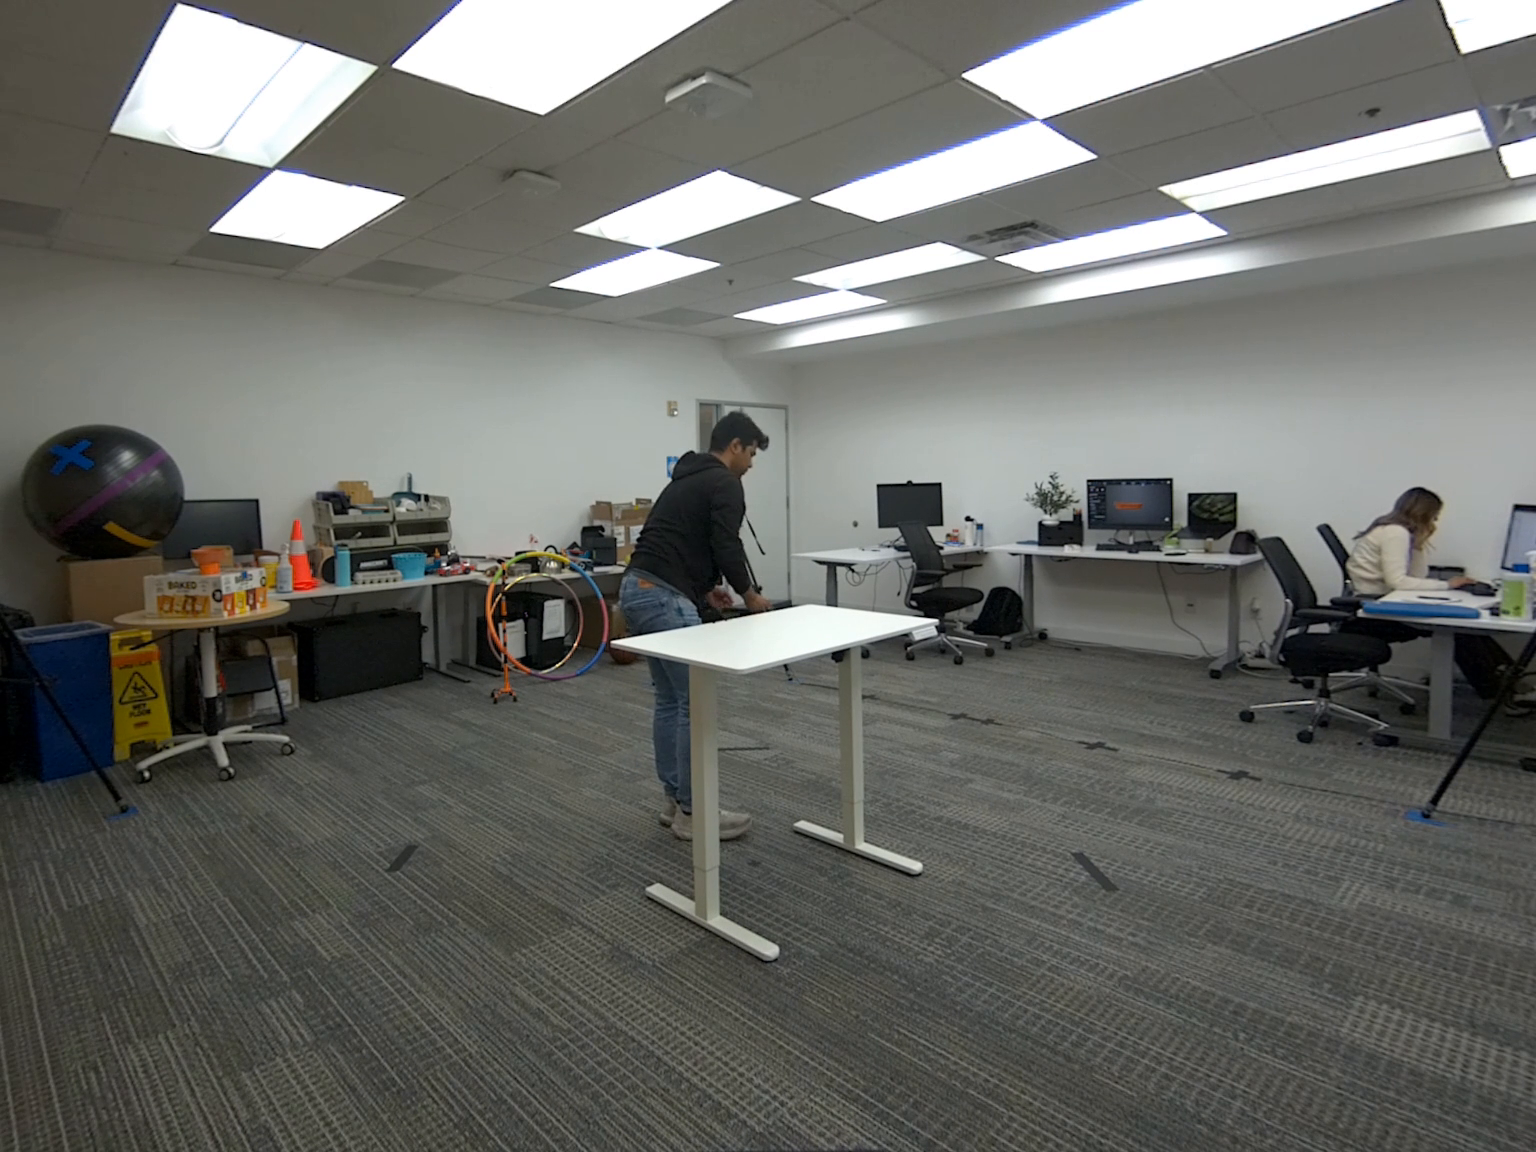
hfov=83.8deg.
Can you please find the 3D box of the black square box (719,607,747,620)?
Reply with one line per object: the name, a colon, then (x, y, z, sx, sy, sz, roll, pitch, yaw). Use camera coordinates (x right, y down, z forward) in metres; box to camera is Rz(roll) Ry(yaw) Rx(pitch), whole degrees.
black square box: (-0.030, 0.209, 3.711, 0.212, 0.155, 0.234, -12, 6, -38)
